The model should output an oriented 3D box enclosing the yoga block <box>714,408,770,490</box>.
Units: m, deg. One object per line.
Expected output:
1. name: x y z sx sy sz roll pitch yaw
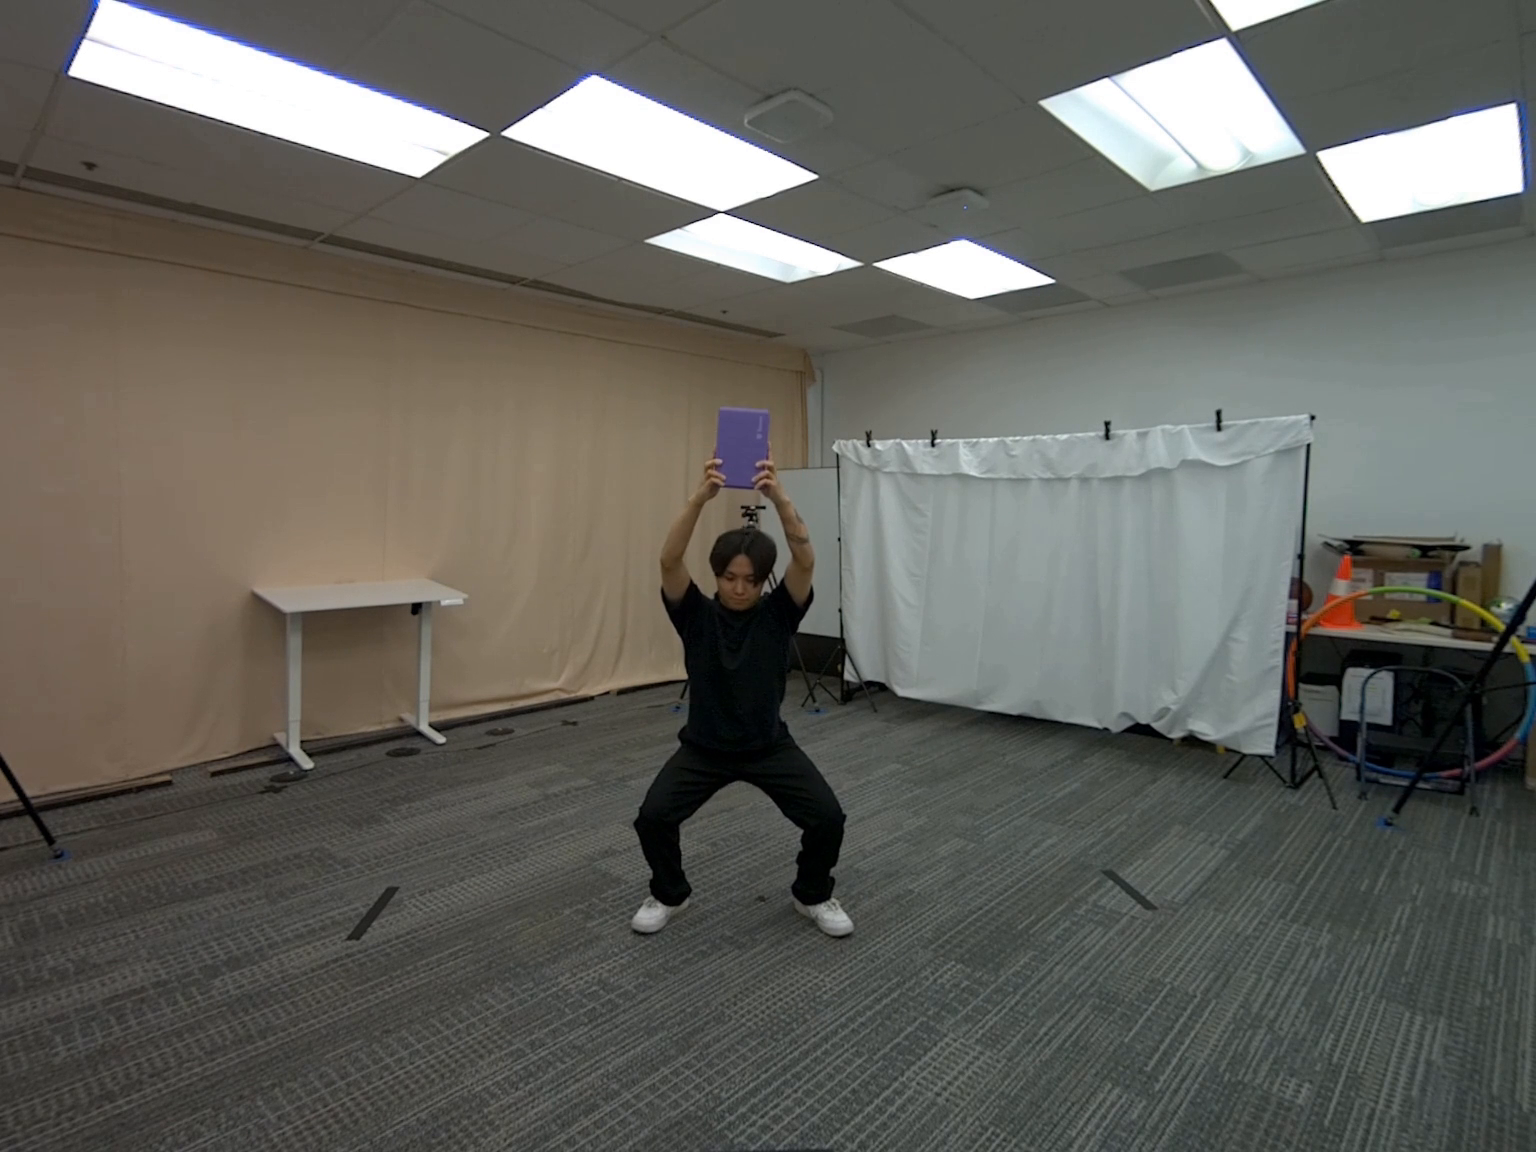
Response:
1. yoga block: -0.072 -0.371 2.445 0.149 0.228 0.076 6 7 0
